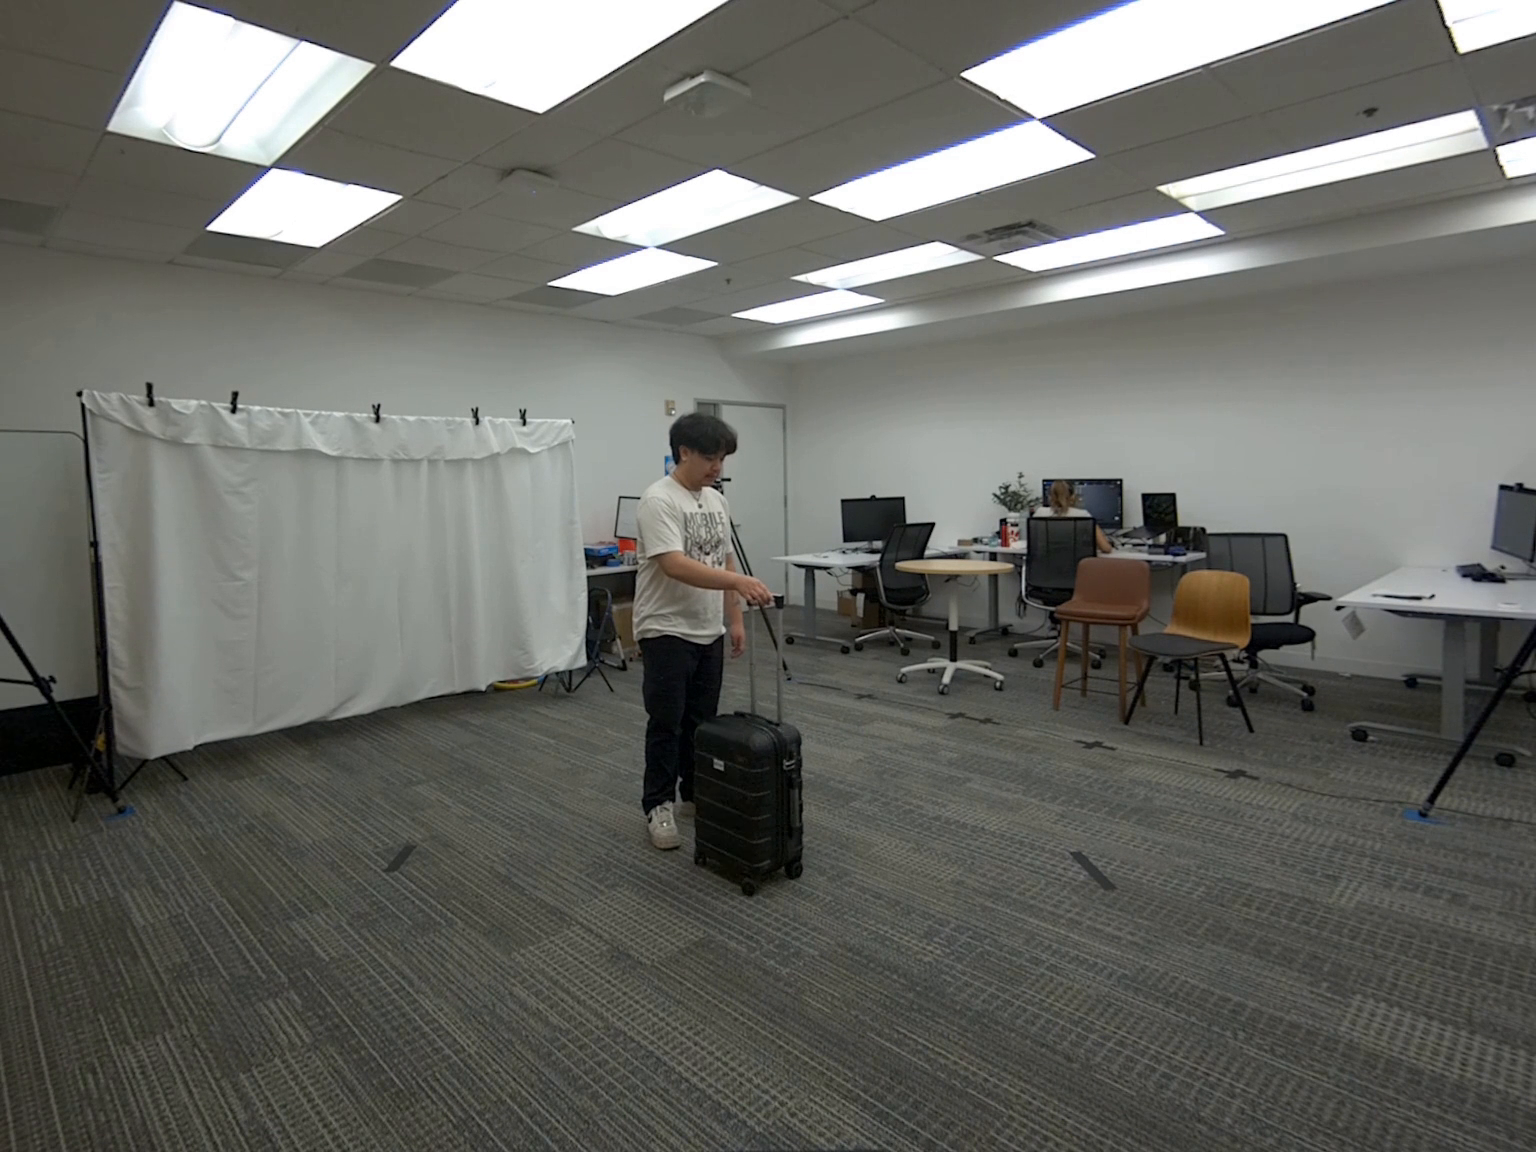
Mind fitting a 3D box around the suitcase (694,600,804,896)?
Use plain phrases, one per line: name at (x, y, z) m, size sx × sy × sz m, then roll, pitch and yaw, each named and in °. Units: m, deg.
suitcase at (-0.071, 0.580, 3.016) m, size 0.250 × 0.975 × 0.395 m, roll -5°, pitch 5°, yaw -41°
